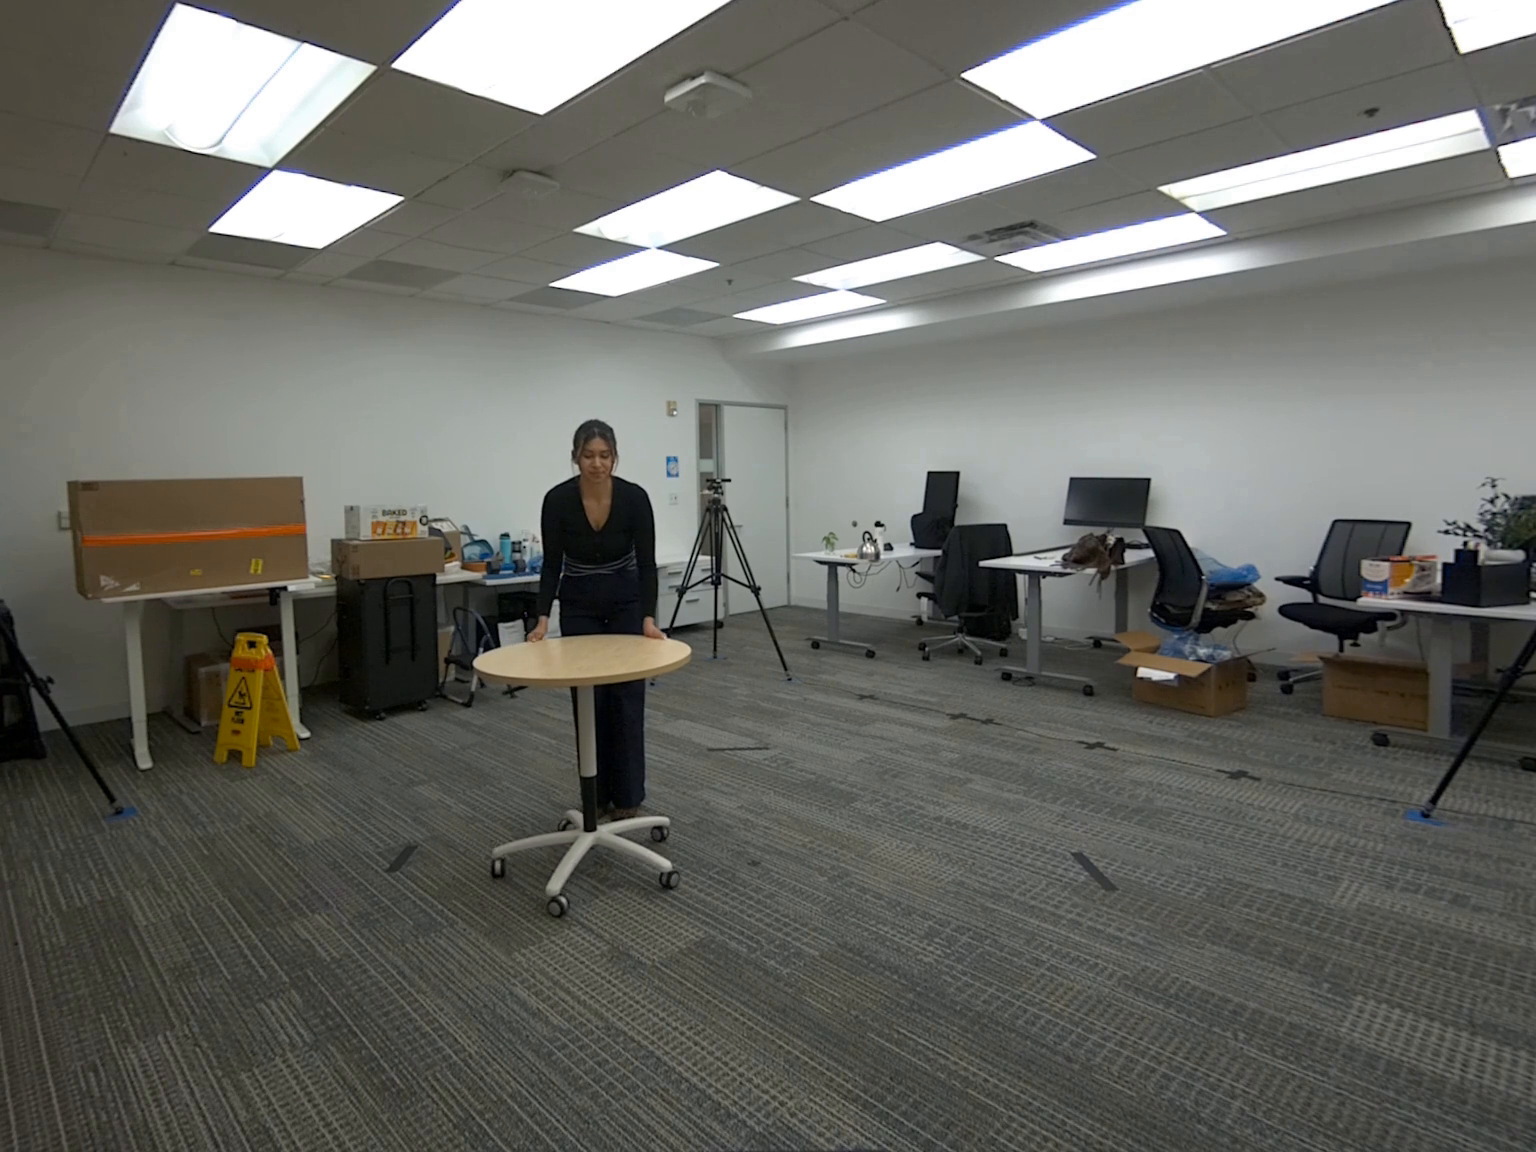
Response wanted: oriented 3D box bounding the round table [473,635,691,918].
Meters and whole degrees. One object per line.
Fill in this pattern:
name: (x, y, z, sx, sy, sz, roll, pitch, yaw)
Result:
round table: (-0.643, 0.674, 3.064, 0.763, 0.791, 0.767, -2, 4, -2)
